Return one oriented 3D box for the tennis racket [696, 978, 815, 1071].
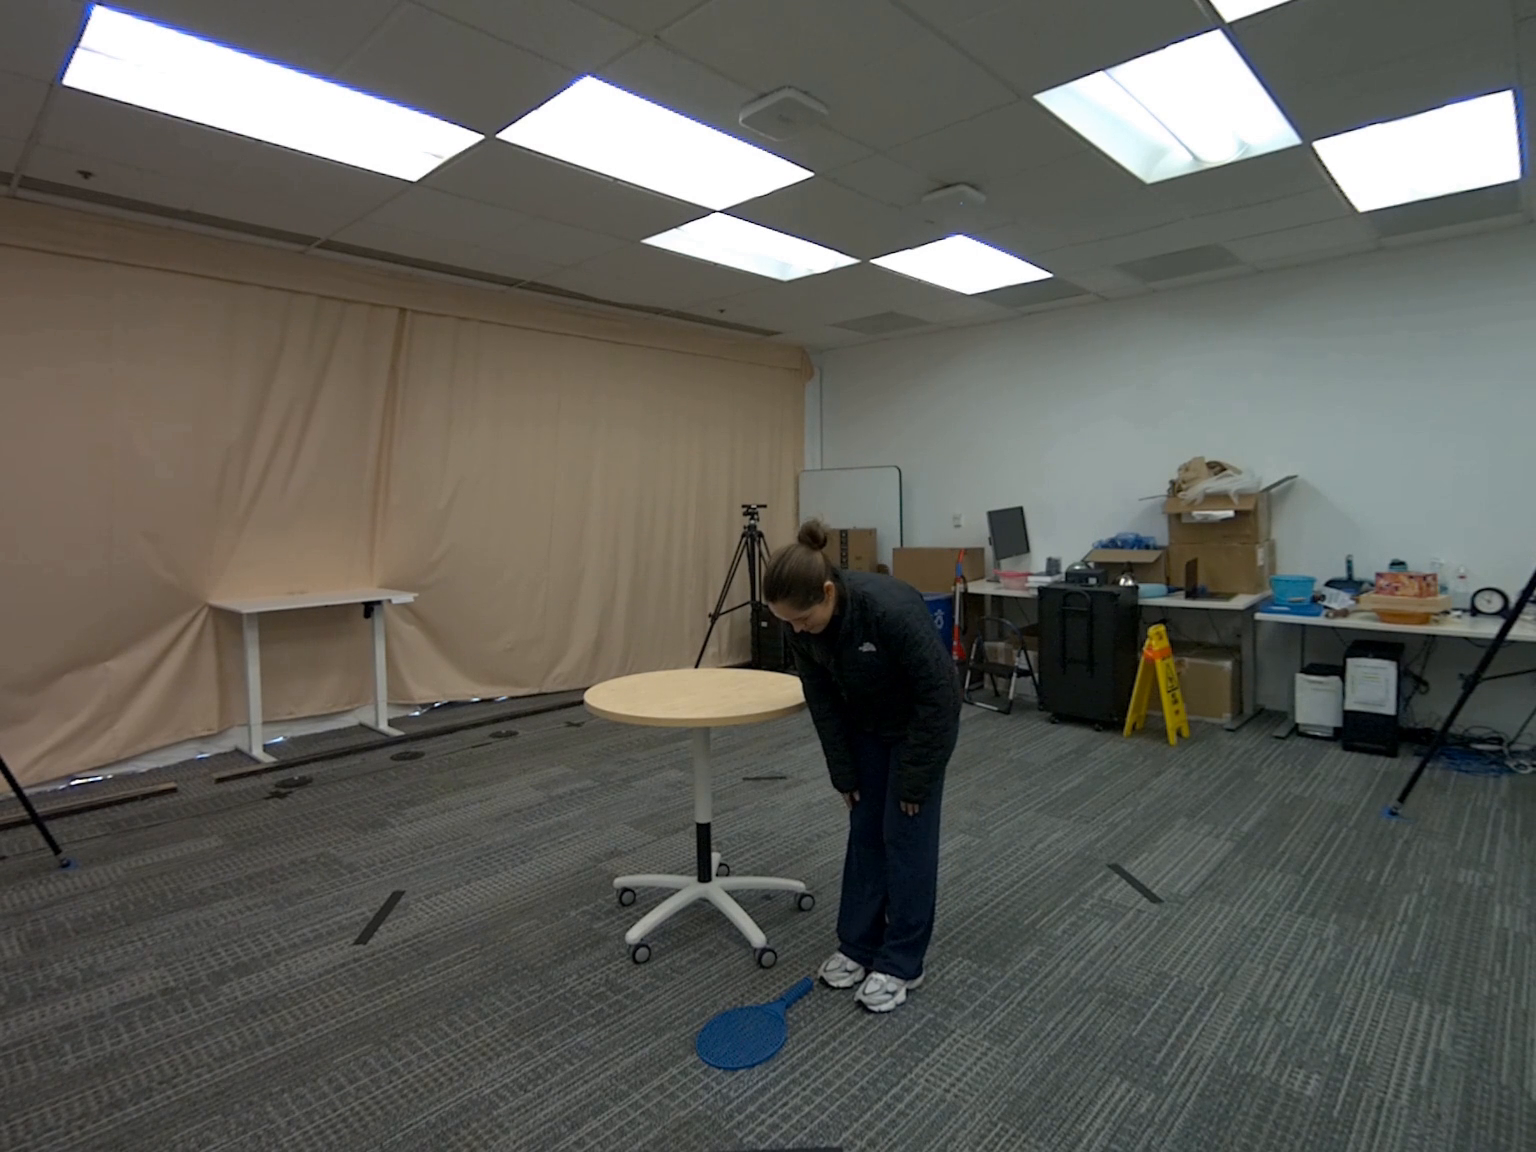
[{"bbox_3d":[0.004,1.190,2.256,0.221,0.031,0.420,3,8,41],"label":"tennis racket"}]
